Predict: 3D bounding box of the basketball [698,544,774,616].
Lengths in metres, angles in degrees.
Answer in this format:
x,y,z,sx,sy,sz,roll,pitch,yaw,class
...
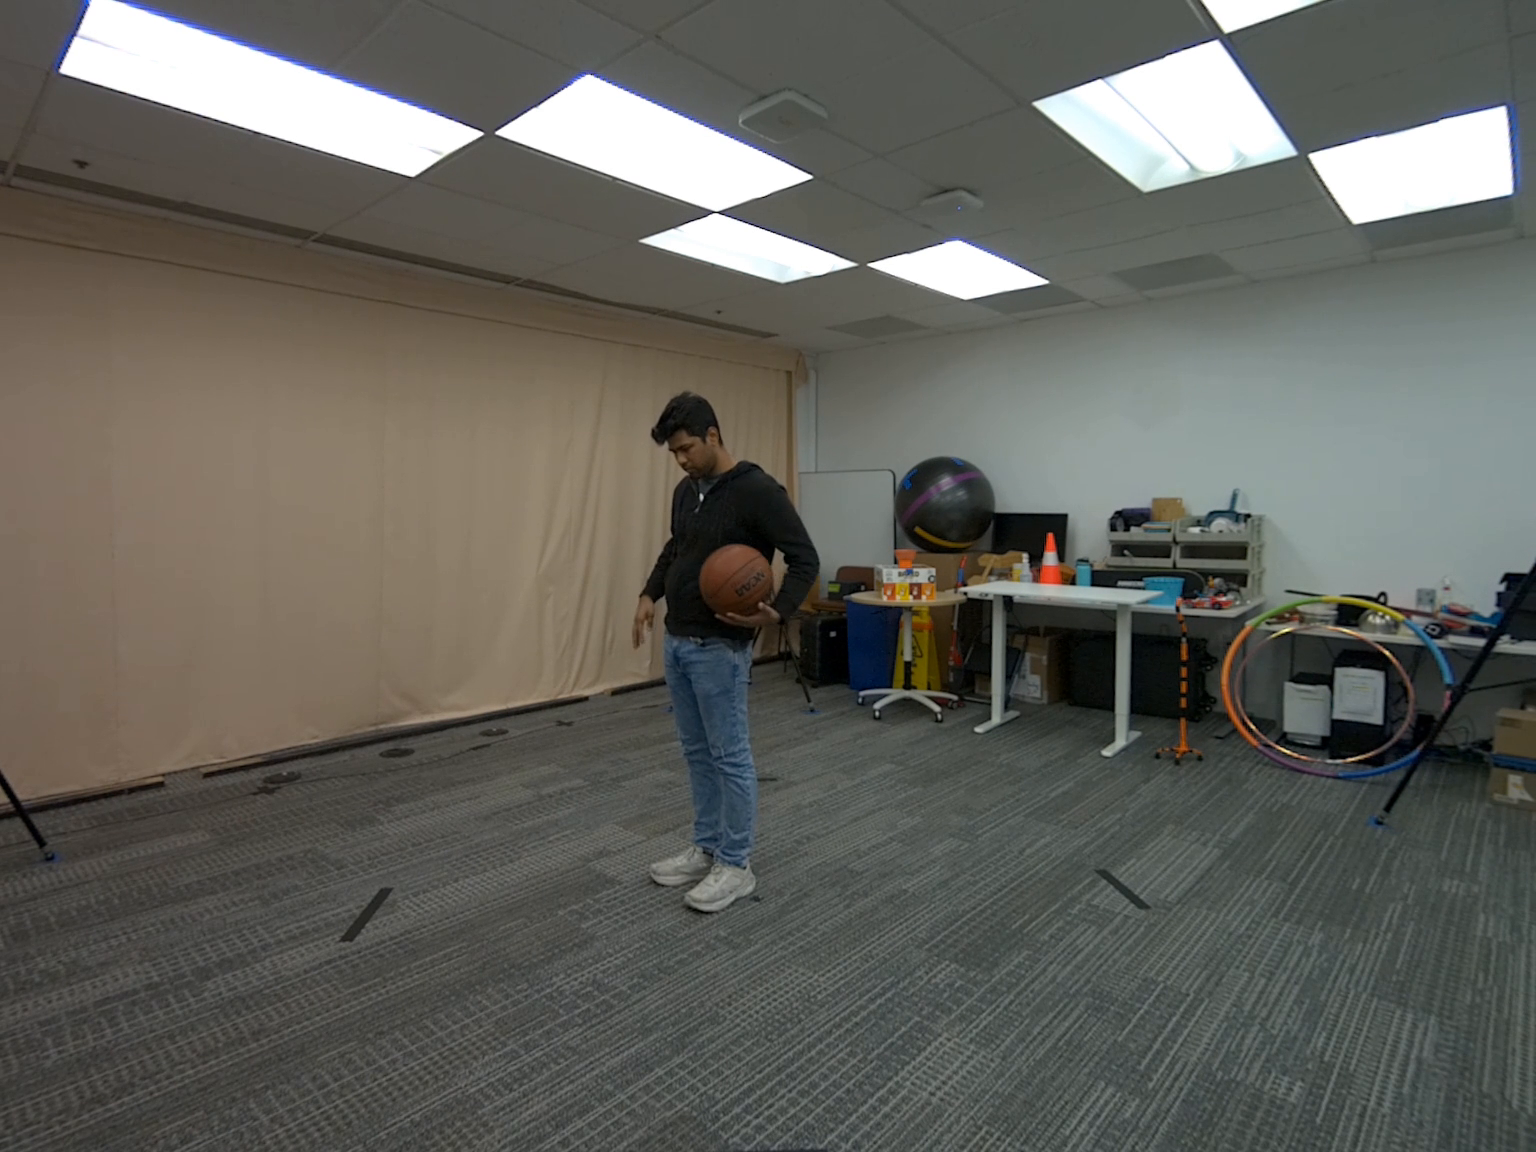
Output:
x,y,z,sx,sy,sz,roll,pitch,yaw,class
-0.109,0.001,2.747,0.236,0.235,0.237,0,4,-2,basketball
